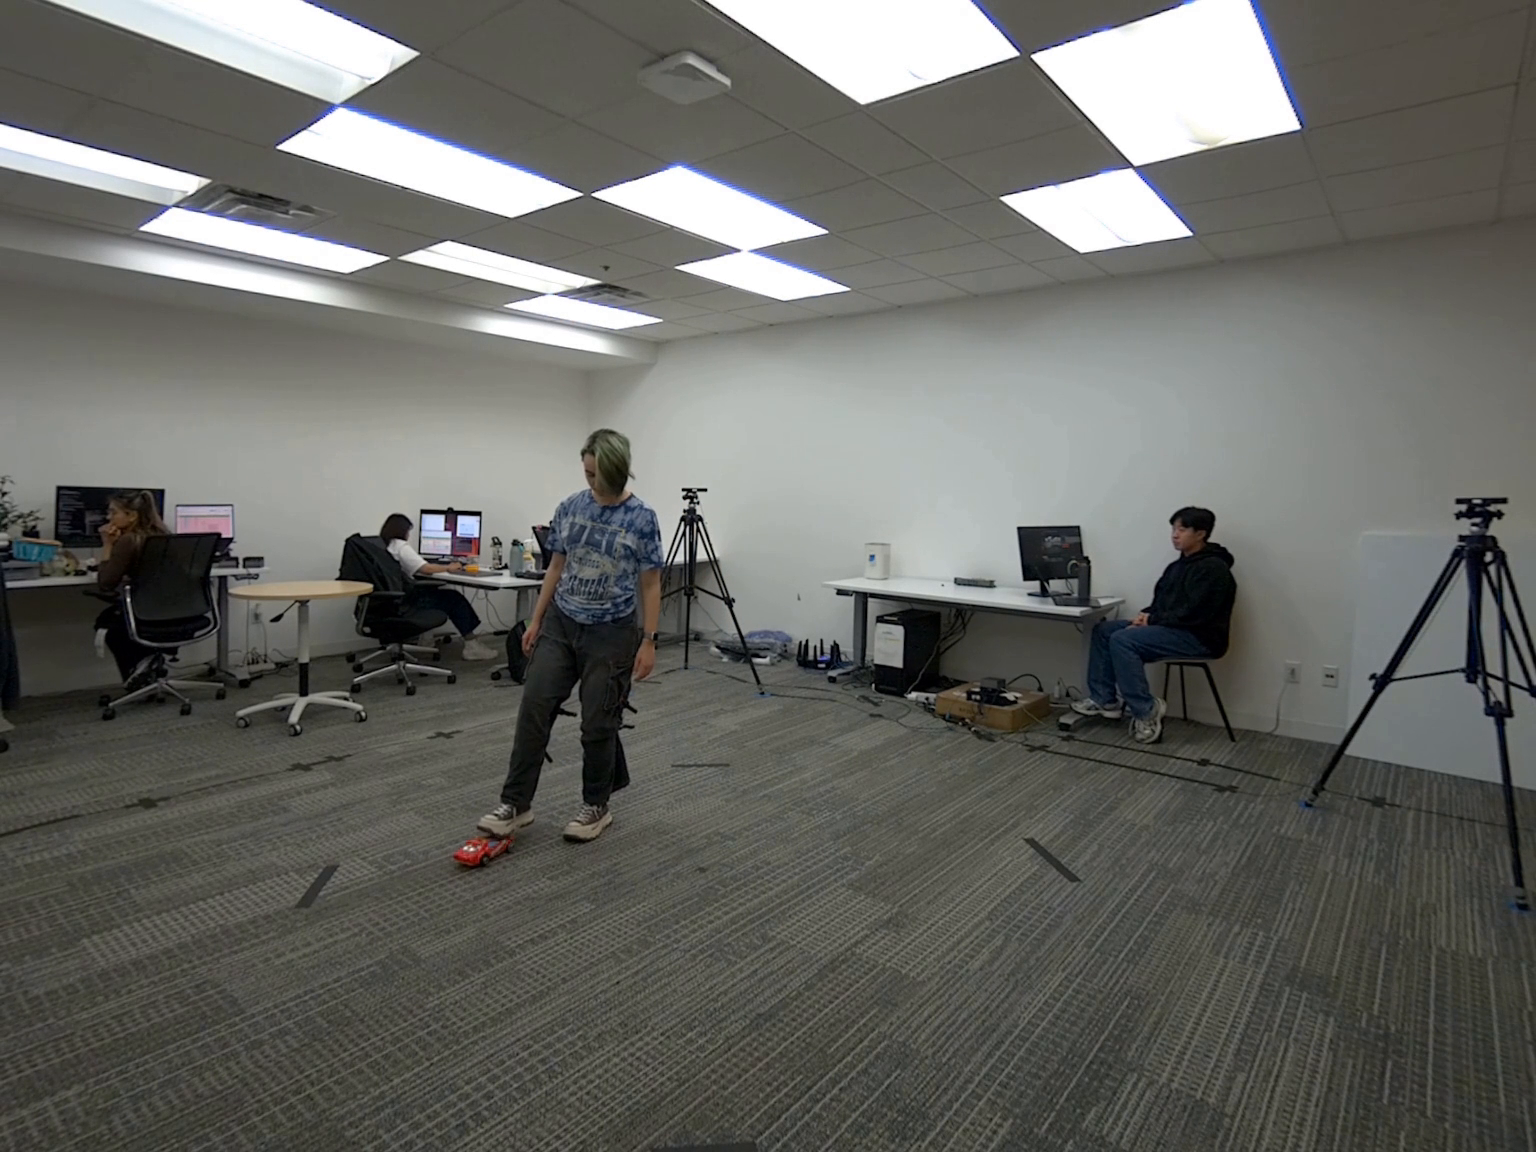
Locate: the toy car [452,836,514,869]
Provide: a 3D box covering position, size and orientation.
[{"bbox_3d":[-1.075,1.020,3.162,0.134,0.084,0.246,1,-7,27],"label":"toy car"}]
